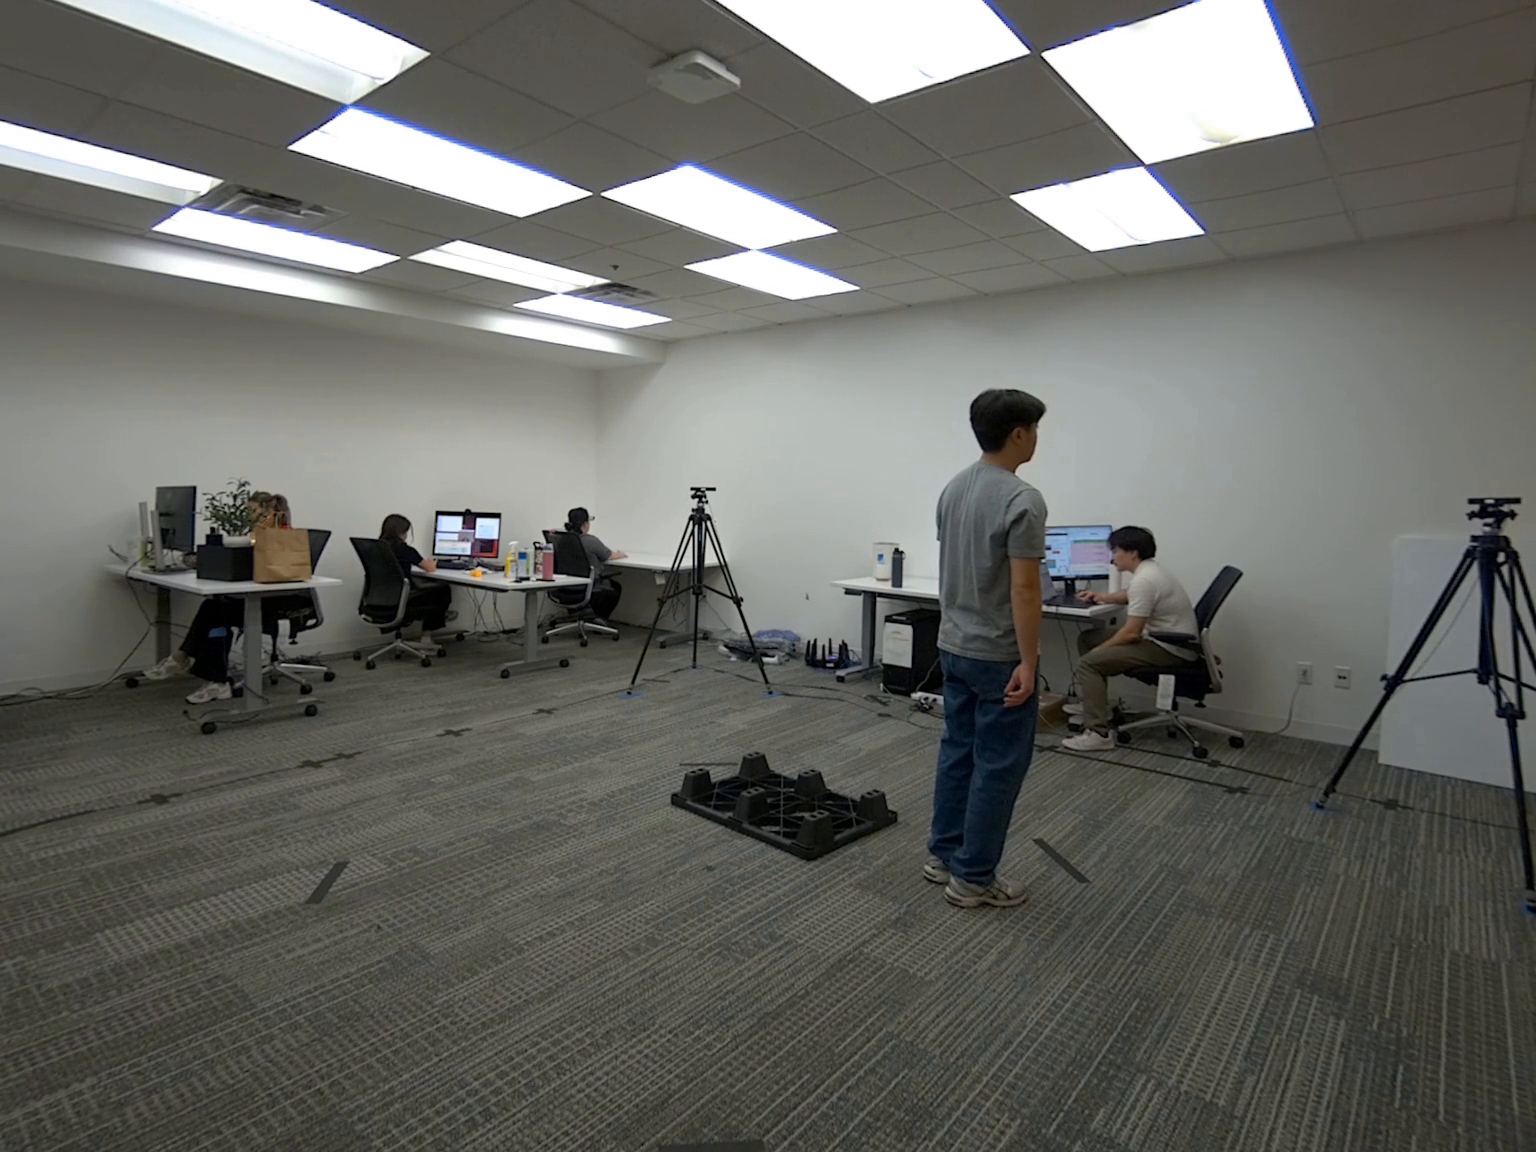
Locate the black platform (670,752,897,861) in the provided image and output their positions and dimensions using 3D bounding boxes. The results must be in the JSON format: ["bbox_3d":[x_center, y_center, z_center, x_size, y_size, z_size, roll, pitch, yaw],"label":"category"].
[{"bbox_3d":[0.047,0.950,3.667,0.833,0.143,0.587,6,7,43],"label":"black platform"}]
